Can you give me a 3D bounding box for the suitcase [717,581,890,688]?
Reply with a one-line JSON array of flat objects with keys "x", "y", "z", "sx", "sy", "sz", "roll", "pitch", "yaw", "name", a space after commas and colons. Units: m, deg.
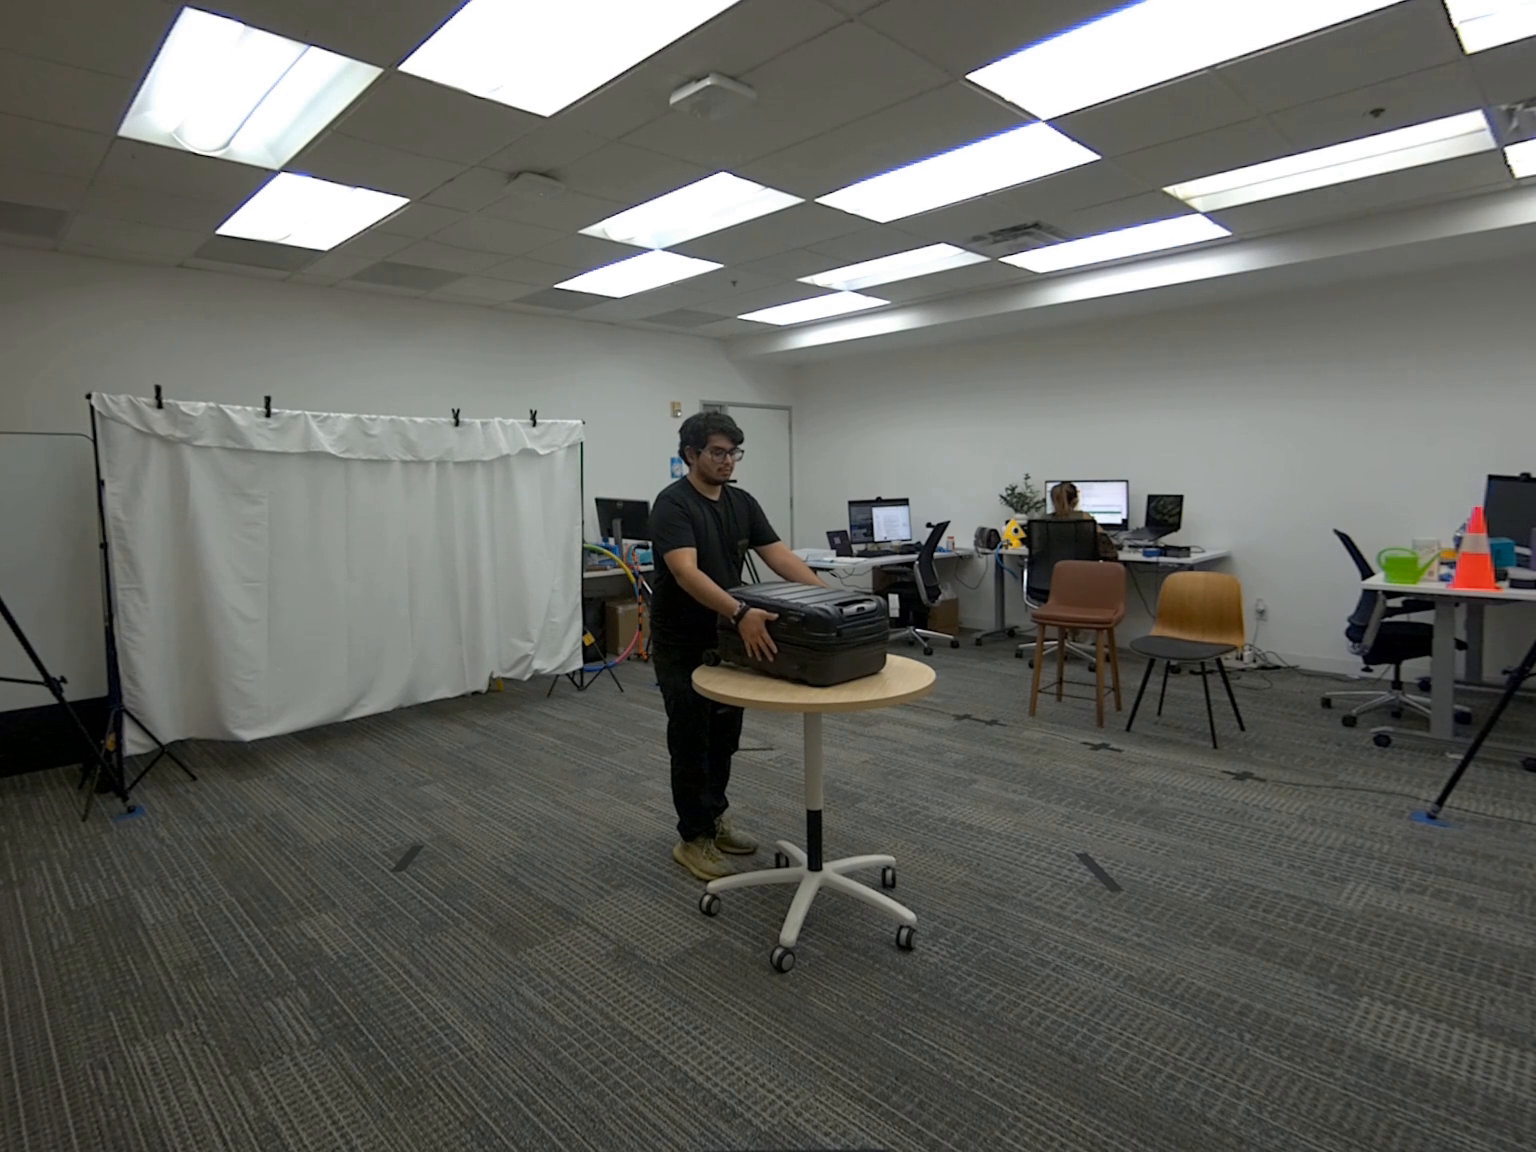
[{"x": 0.102, "y": 0.179, "z": 2.752, "sx": 0.365, "sy": 0.247, "sz": 0.567, "roll": -5, "pitch": 9, "yaw": -45, "name": "suitcase"}]
